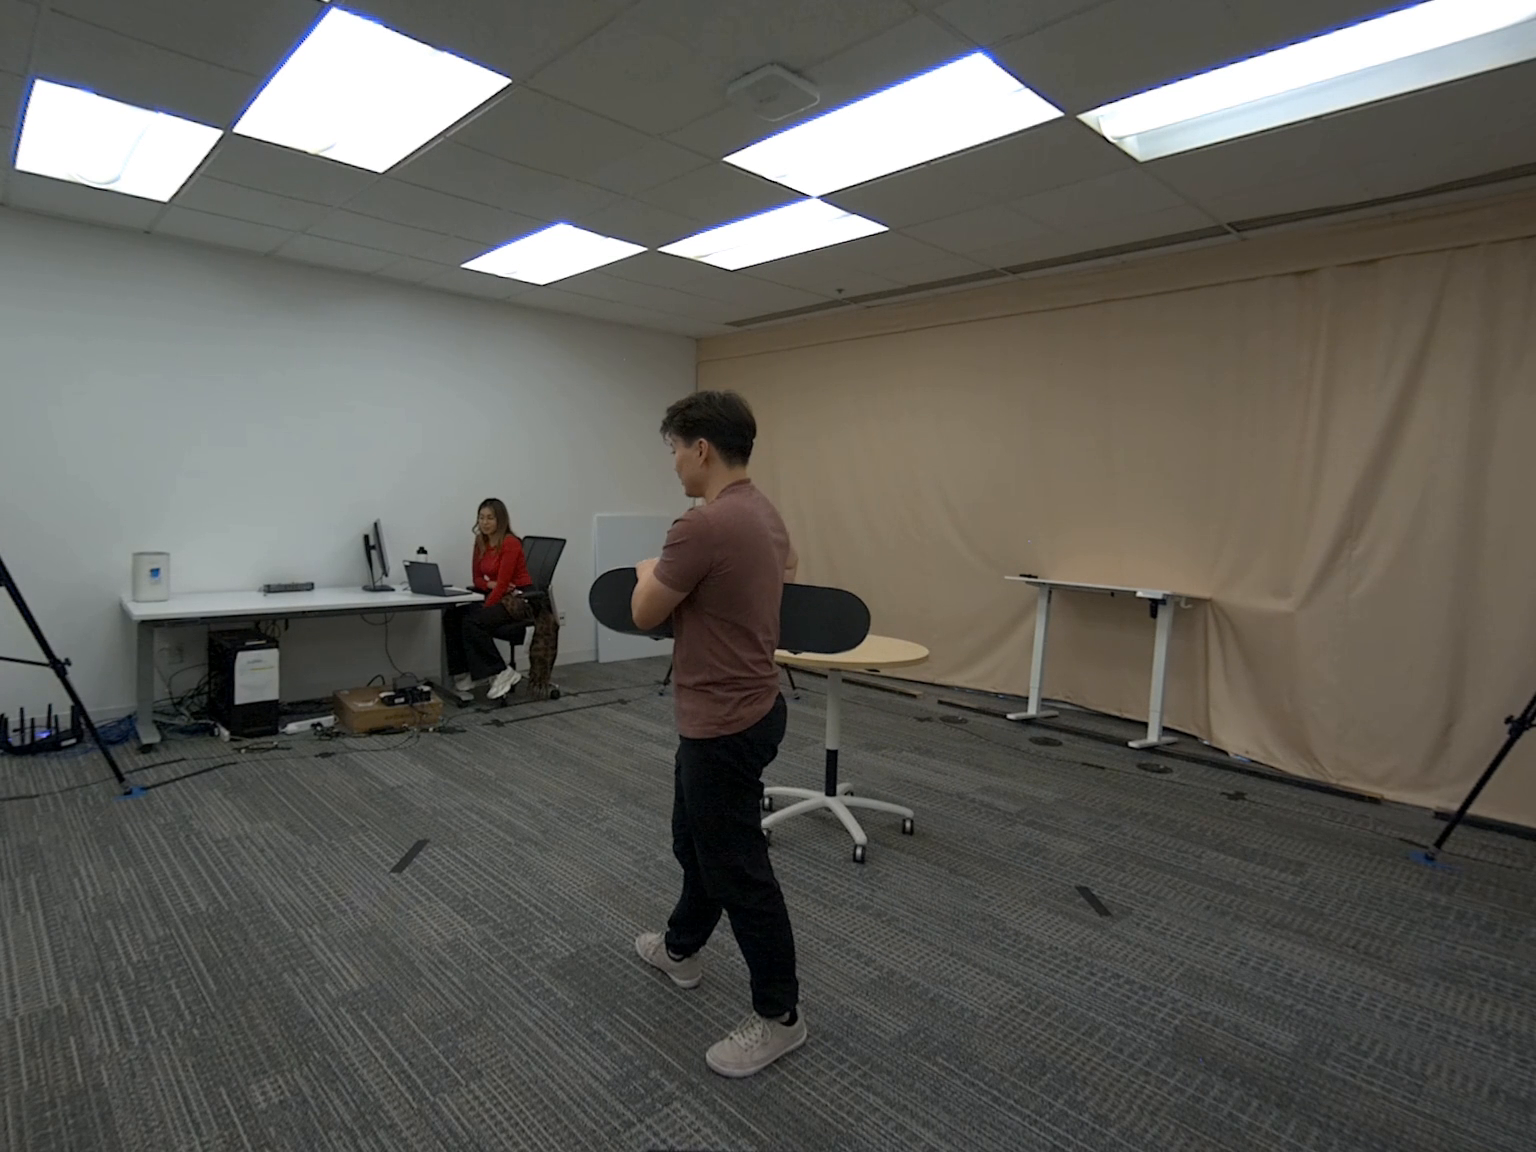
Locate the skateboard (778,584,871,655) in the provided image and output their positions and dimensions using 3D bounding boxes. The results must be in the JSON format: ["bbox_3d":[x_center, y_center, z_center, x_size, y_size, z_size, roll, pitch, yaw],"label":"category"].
[{"bbox_3d":[-0.131,0.107,2.389,0.785,0.196,0.109,5,-17,0],"label":"skateboard"}]
